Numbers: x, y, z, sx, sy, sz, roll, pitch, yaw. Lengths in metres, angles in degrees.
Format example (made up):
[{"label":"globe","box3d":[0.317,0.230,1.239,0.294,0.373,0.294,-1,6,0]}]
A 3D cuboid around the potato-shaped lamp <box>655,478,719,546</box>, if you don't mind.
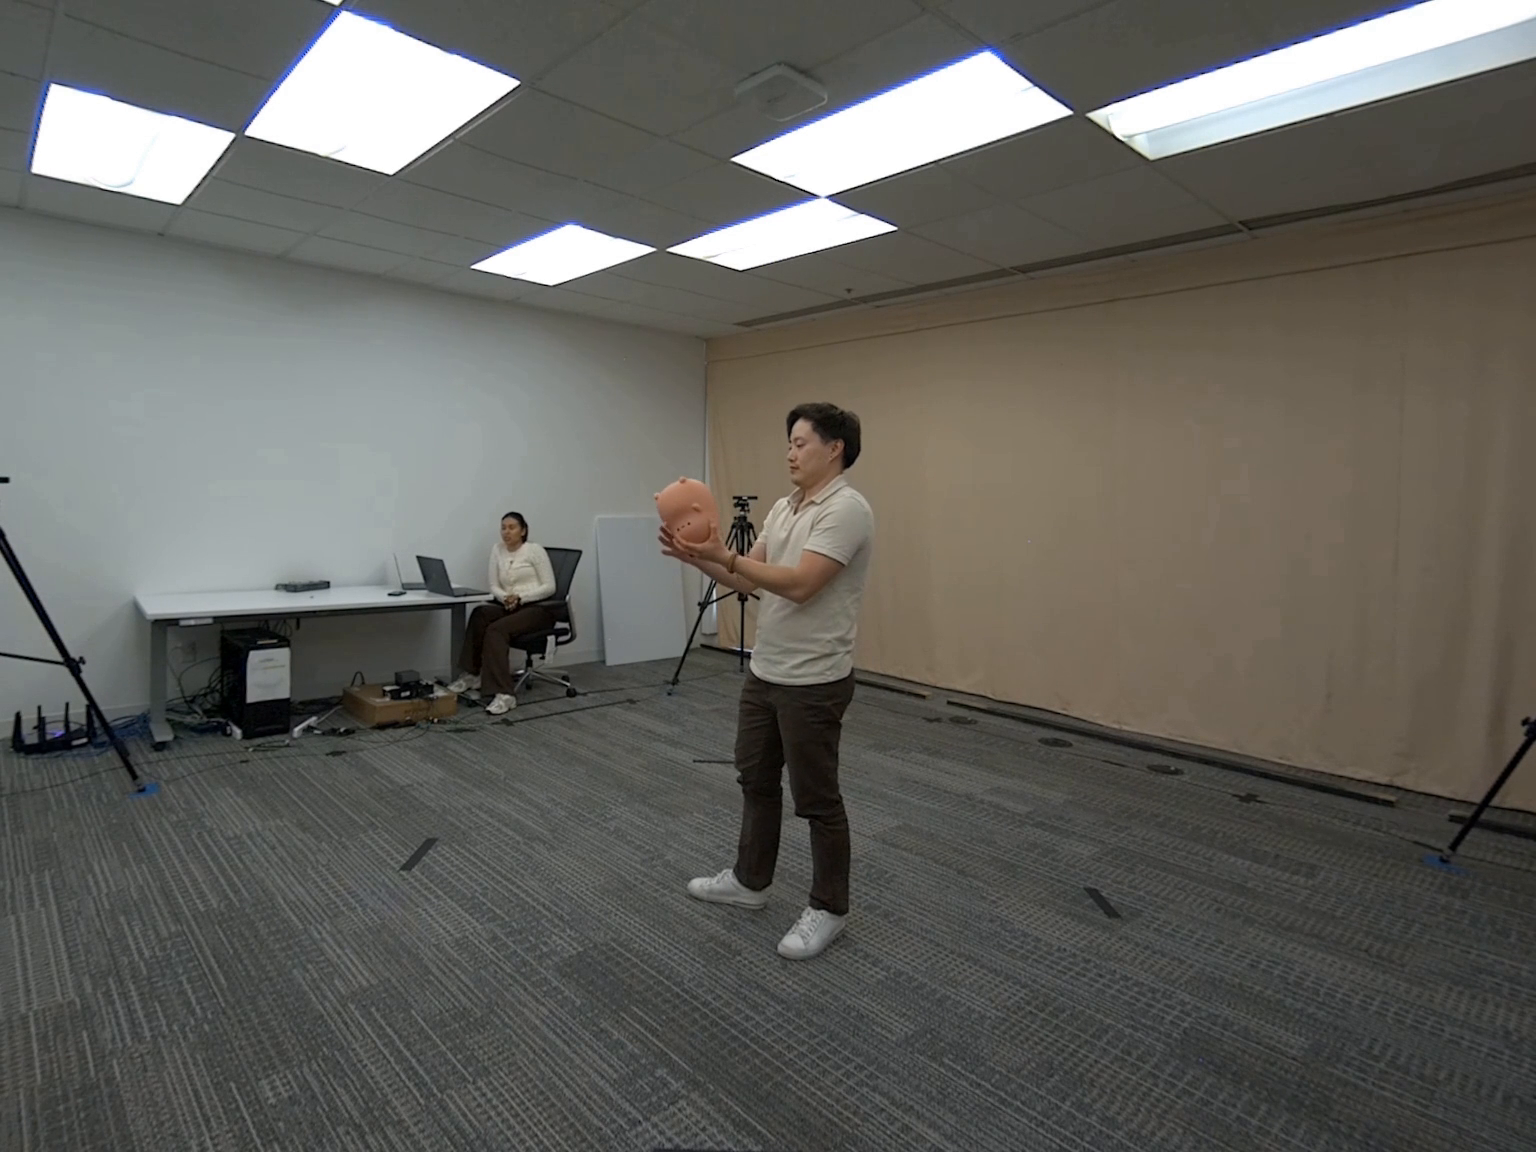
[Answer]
[{"label":"potato-shaped lamp","box3d":[-0.234,-0.174,2.484,0.166,0.201,0.167,-28,-19,23]}]
